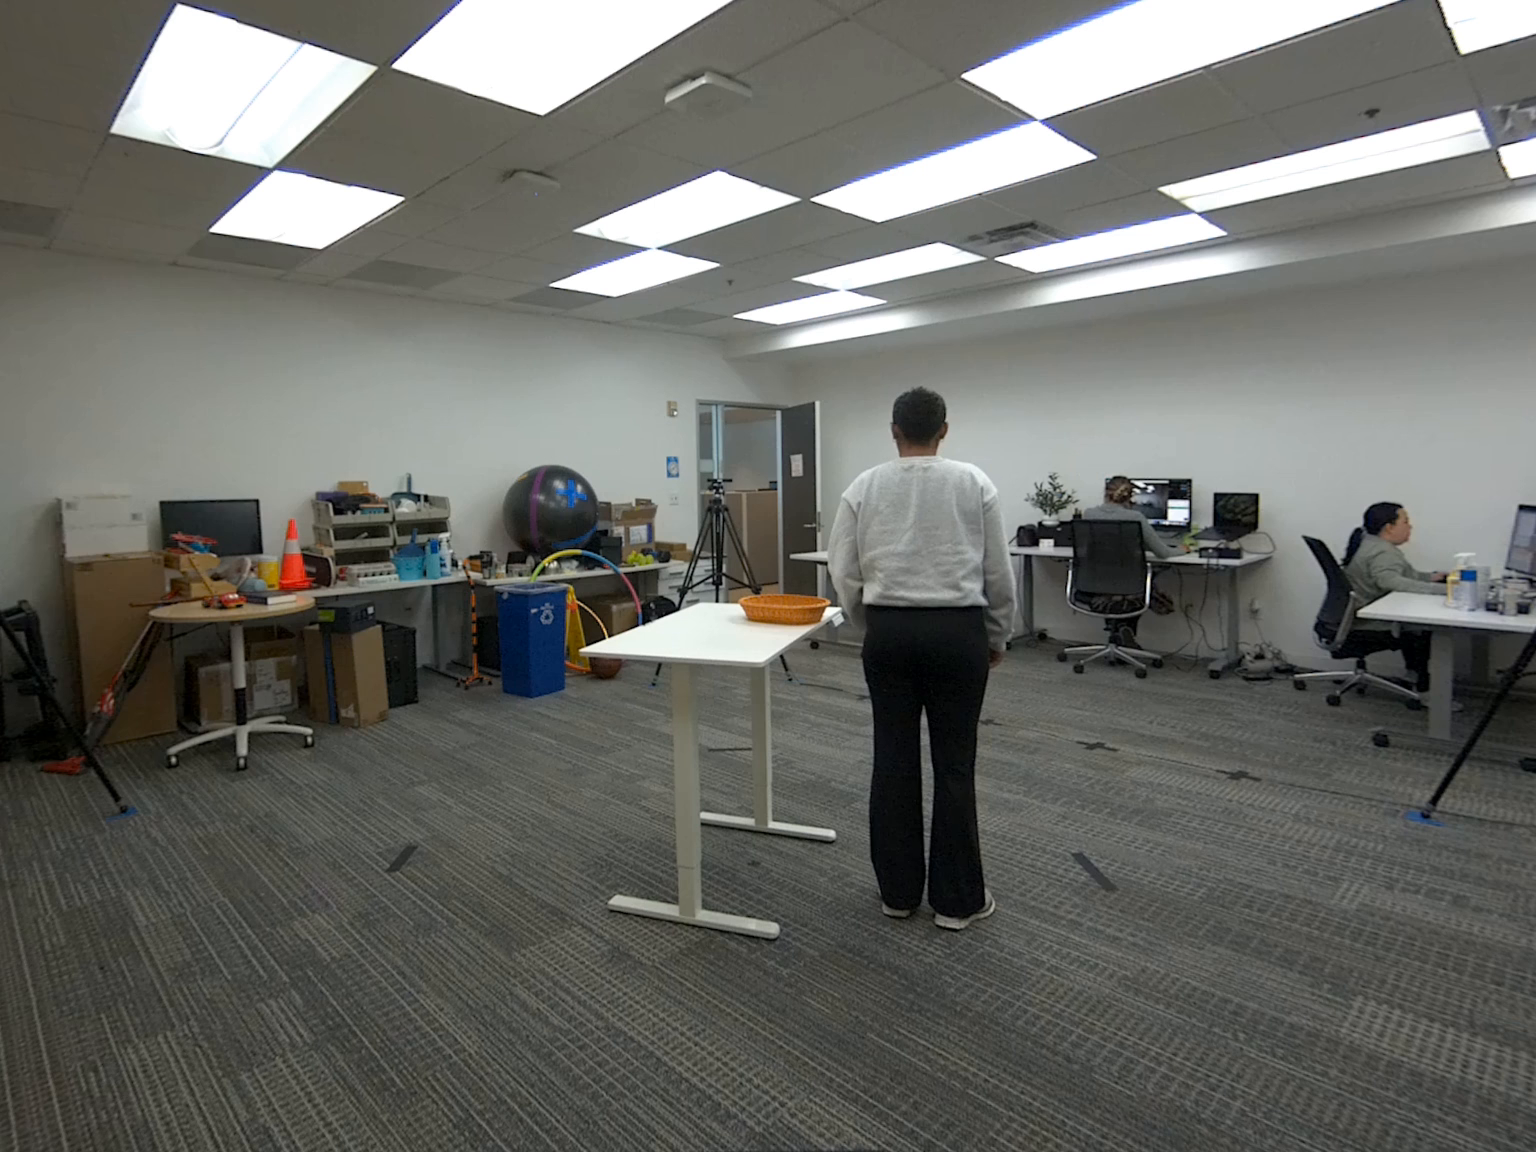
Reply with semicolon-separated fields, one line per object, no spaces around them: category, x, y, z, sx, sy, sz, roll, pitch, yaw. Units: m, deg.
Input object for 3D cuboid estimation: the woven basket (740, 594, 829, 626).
woven basket;0.060;0.132;3.101;0.361;0.073;0.246;4;8;38
